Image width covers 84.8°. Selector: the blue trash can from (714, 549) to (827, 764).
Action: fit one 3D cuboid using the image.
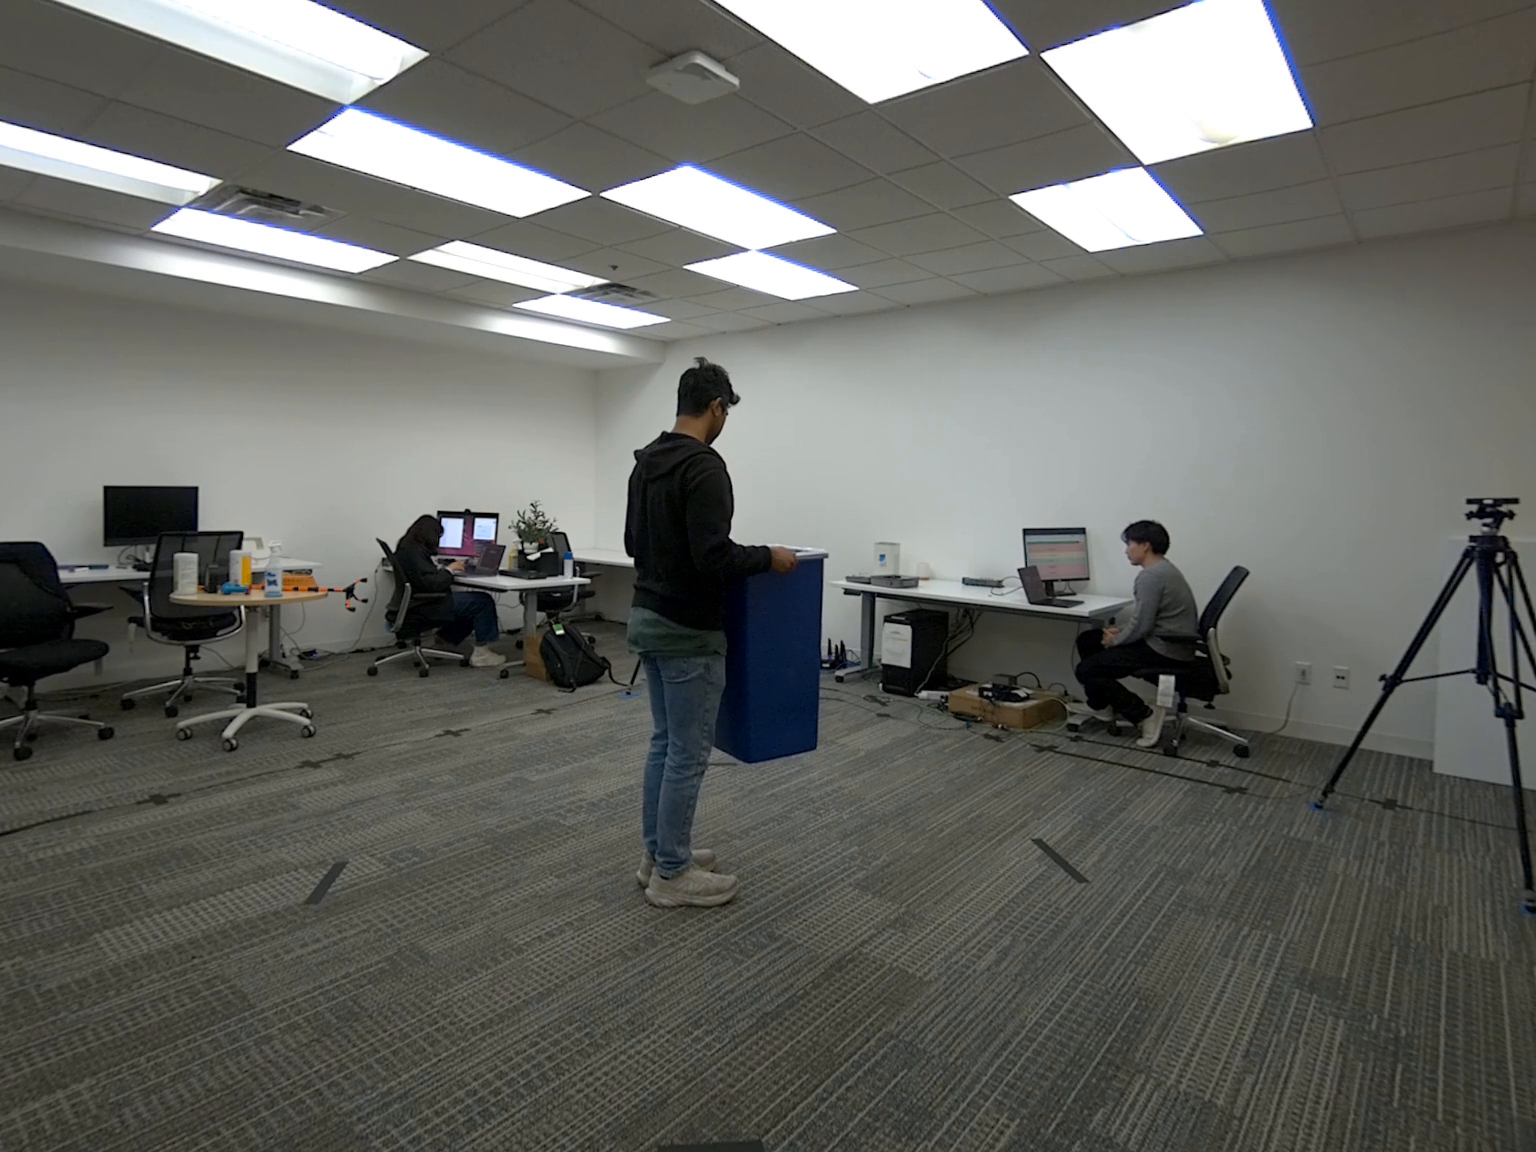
[{"bbox_3d":[-0.031,0.265,3.068,0.368,0.711,0.386,-4,5,-35],"label":"blue trash can"}]
